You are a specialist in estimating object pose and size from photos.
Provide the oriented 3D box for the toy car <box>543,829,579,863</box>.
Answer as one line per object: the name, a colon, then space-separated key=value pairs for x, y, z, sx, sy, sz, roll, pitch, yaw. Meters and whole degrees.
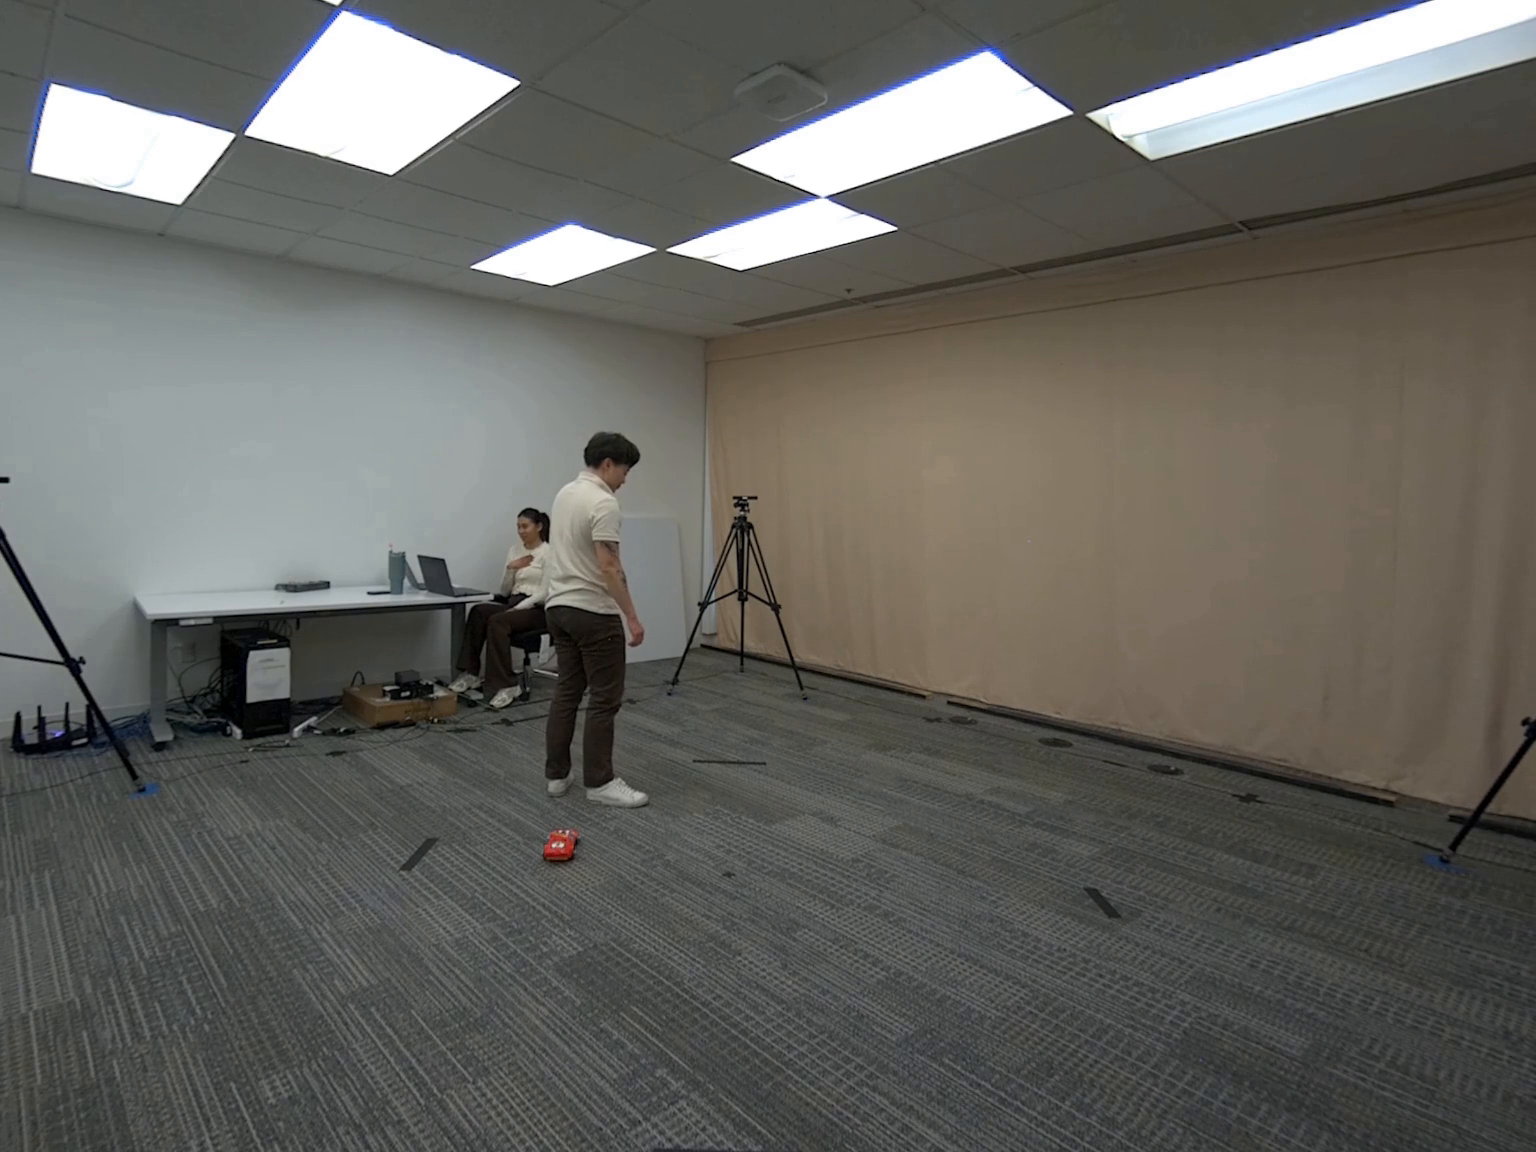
toy car: x=-0.809 y=1.044 z=3.250 sx=0.130 sy=0.083 sz=0.254 roll=2 pitch=-6 yaw=-5
